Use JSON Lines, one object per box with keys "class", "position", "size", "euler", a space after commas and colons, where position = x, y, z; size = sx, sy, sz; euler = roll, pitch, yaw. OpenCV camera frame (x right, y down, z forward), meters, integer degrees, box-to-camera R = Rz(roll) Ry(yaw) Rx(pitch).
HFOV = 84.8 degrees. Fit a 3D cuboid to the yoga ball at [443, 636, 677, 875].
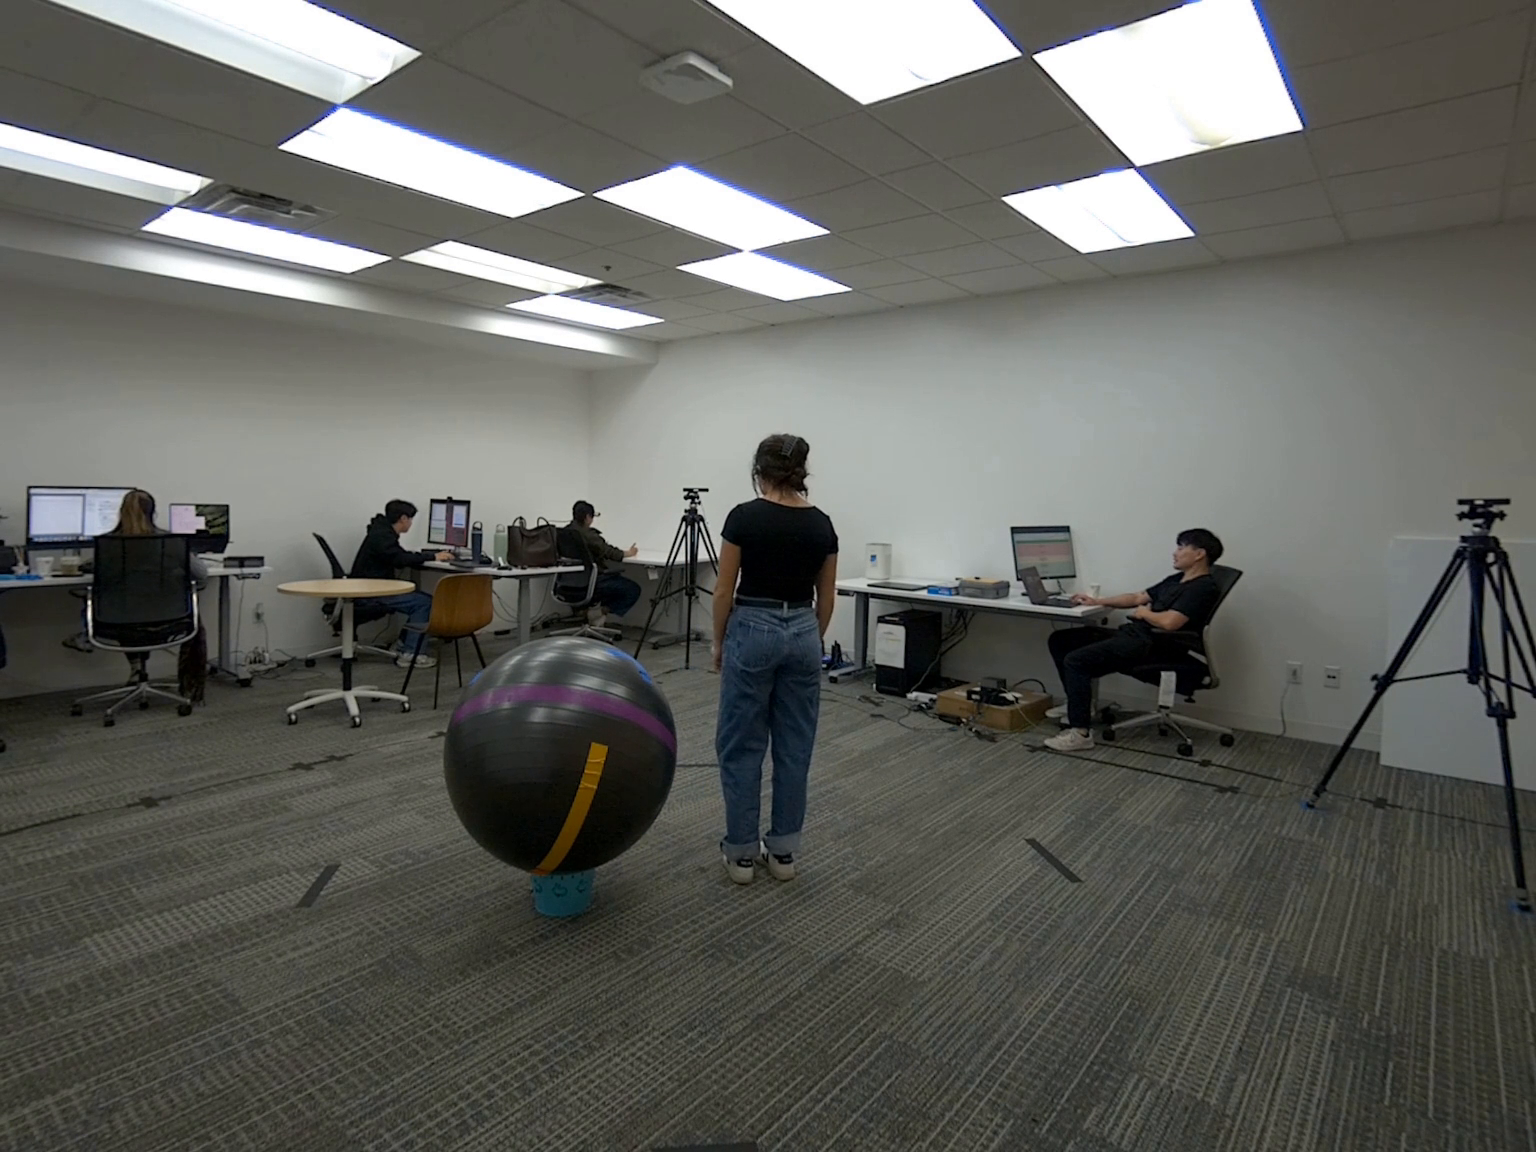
{"class": "yoga ball", "position": [-0.692, 0.578, 2.809], "size": [0.757, 0.755, 0.762], "euler": [1, 4, -2]}
